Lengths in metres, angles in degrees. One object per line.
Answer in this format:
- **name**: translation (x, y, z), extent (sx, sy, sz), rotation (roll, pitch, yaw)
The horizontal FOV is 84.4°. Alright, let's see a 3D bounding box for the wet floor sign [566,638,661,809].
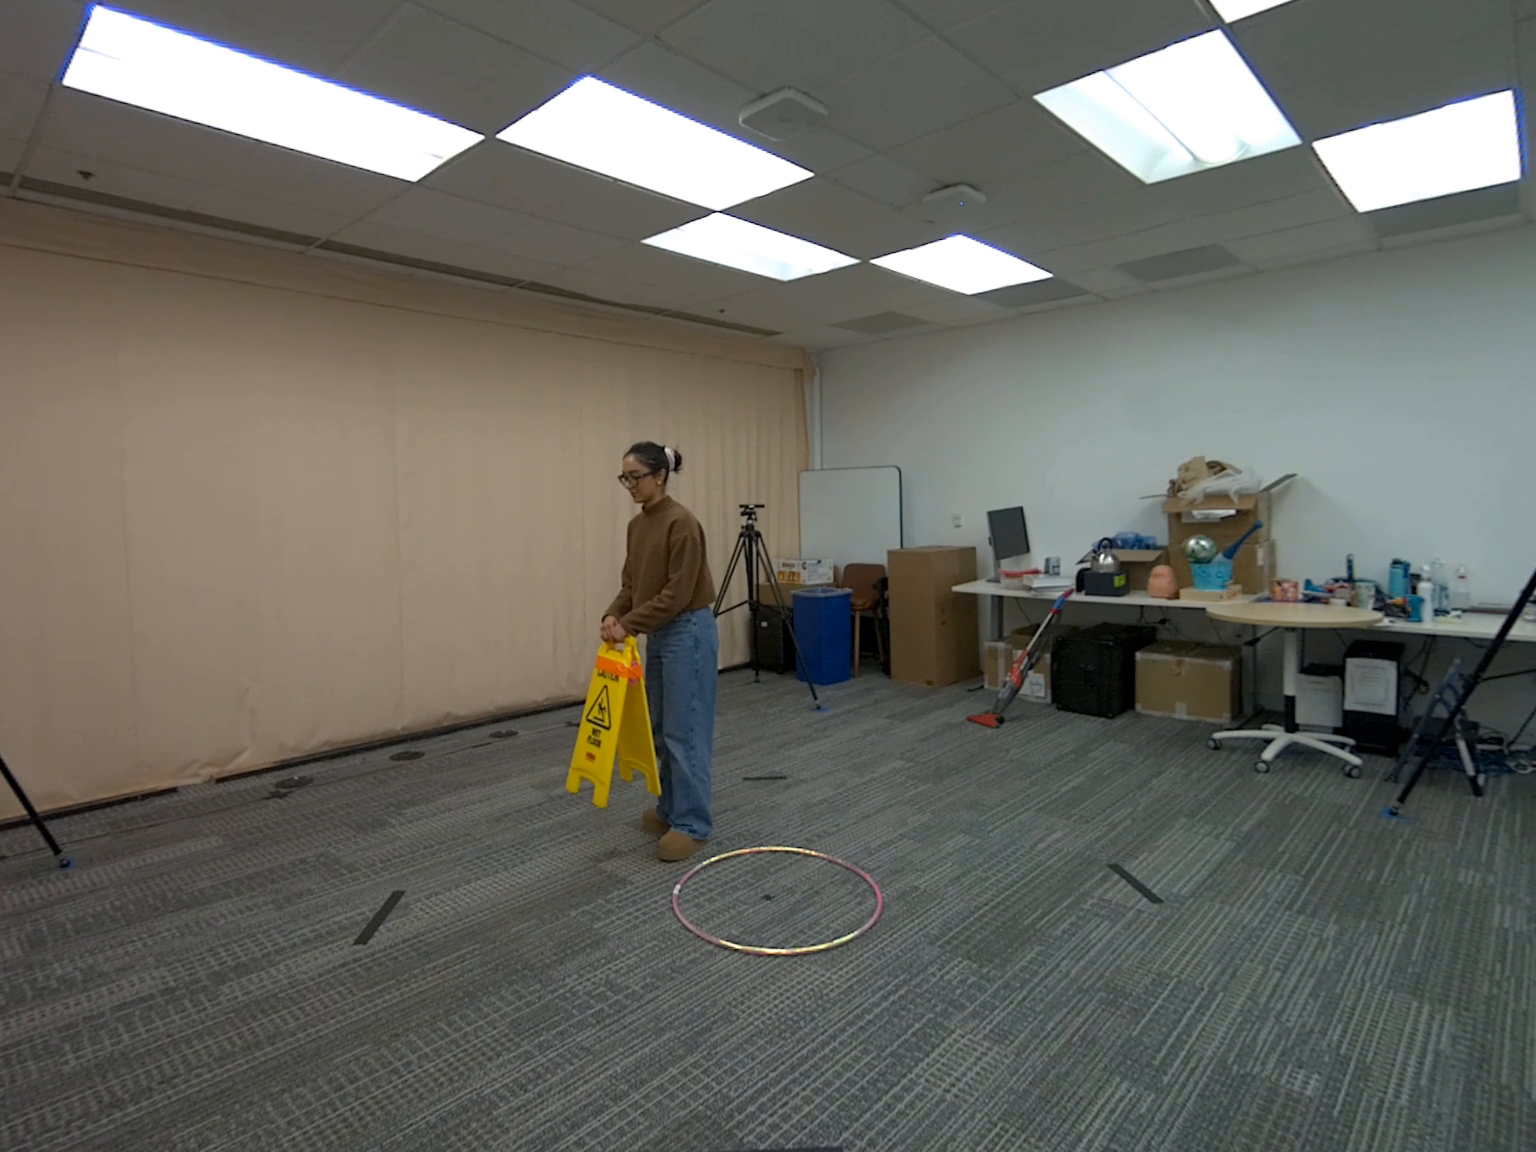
- **wet floor sign**: translation (-0.600, 0.536, 3.324), extent (0.280, 0.645, 0.291), rotation (0, 2, -41)
